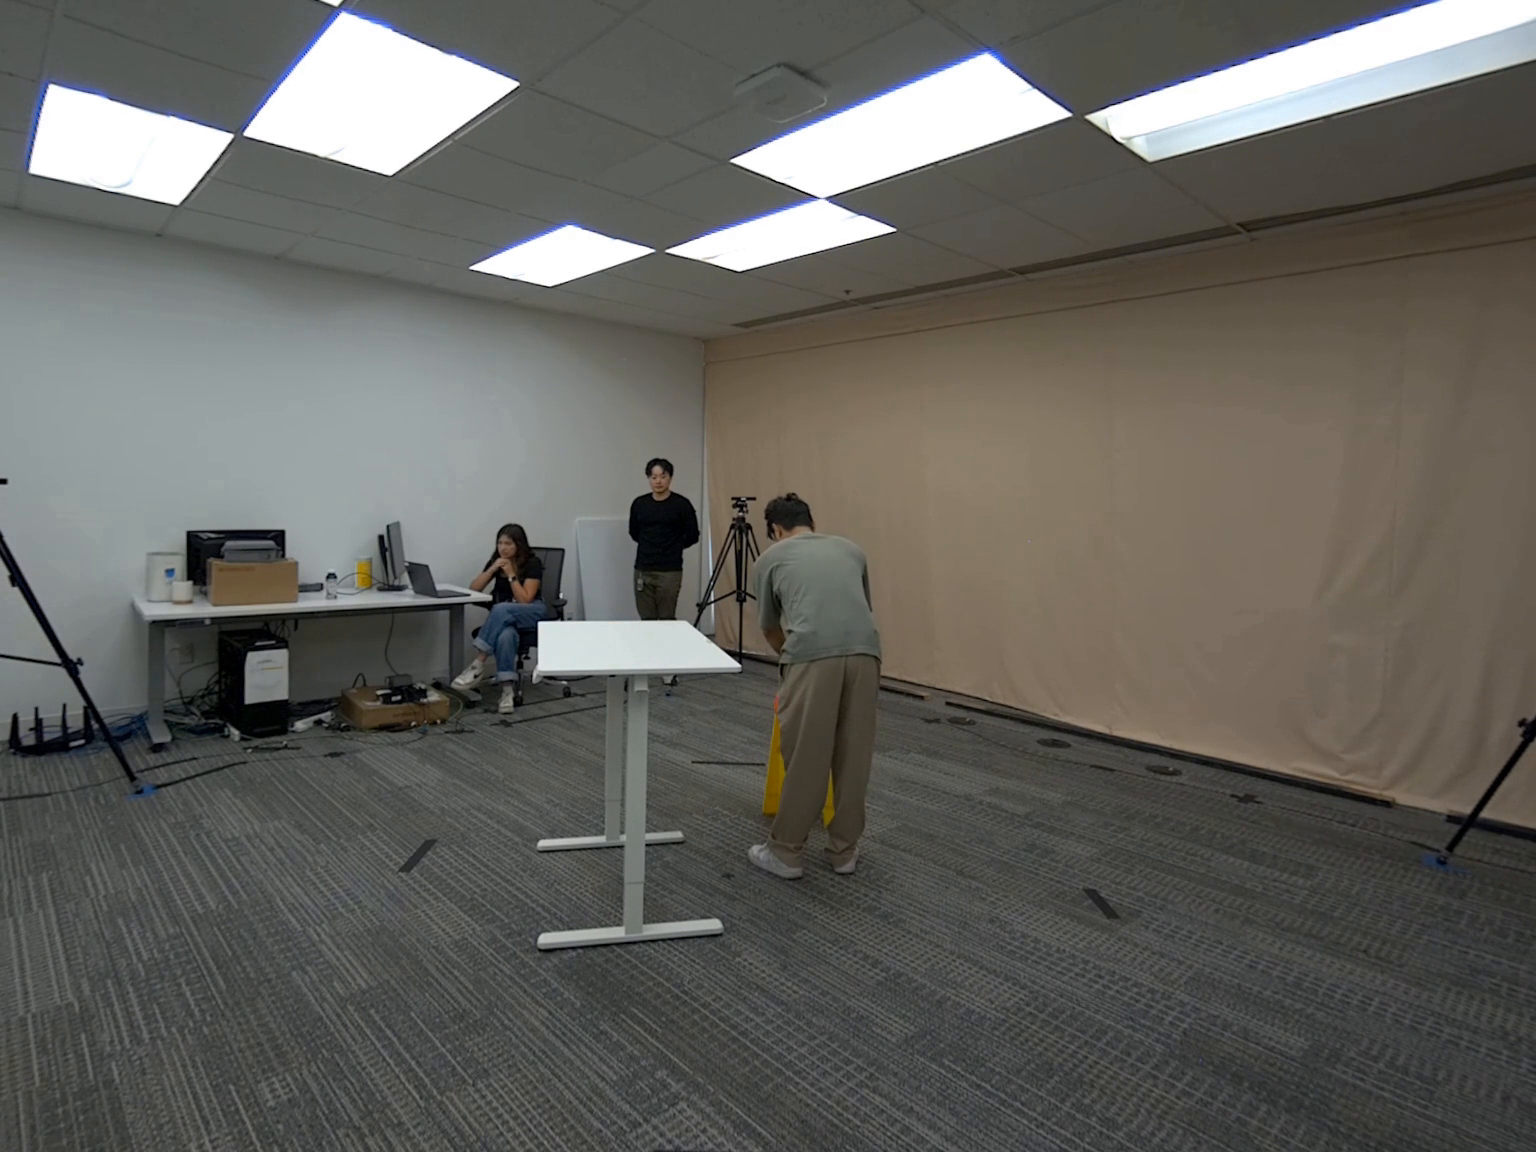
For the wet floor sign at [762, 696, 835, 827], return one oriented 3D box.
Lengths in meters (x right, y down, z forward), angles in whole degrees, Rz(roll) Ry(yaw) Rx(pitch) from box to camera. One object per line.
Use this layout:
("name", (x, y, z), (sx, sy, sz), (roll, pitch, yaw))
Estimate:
("wet floor sign", (0.147, 0.743, 3.643), (0.279, 0.646, 0.293), (2, 0, -14))
